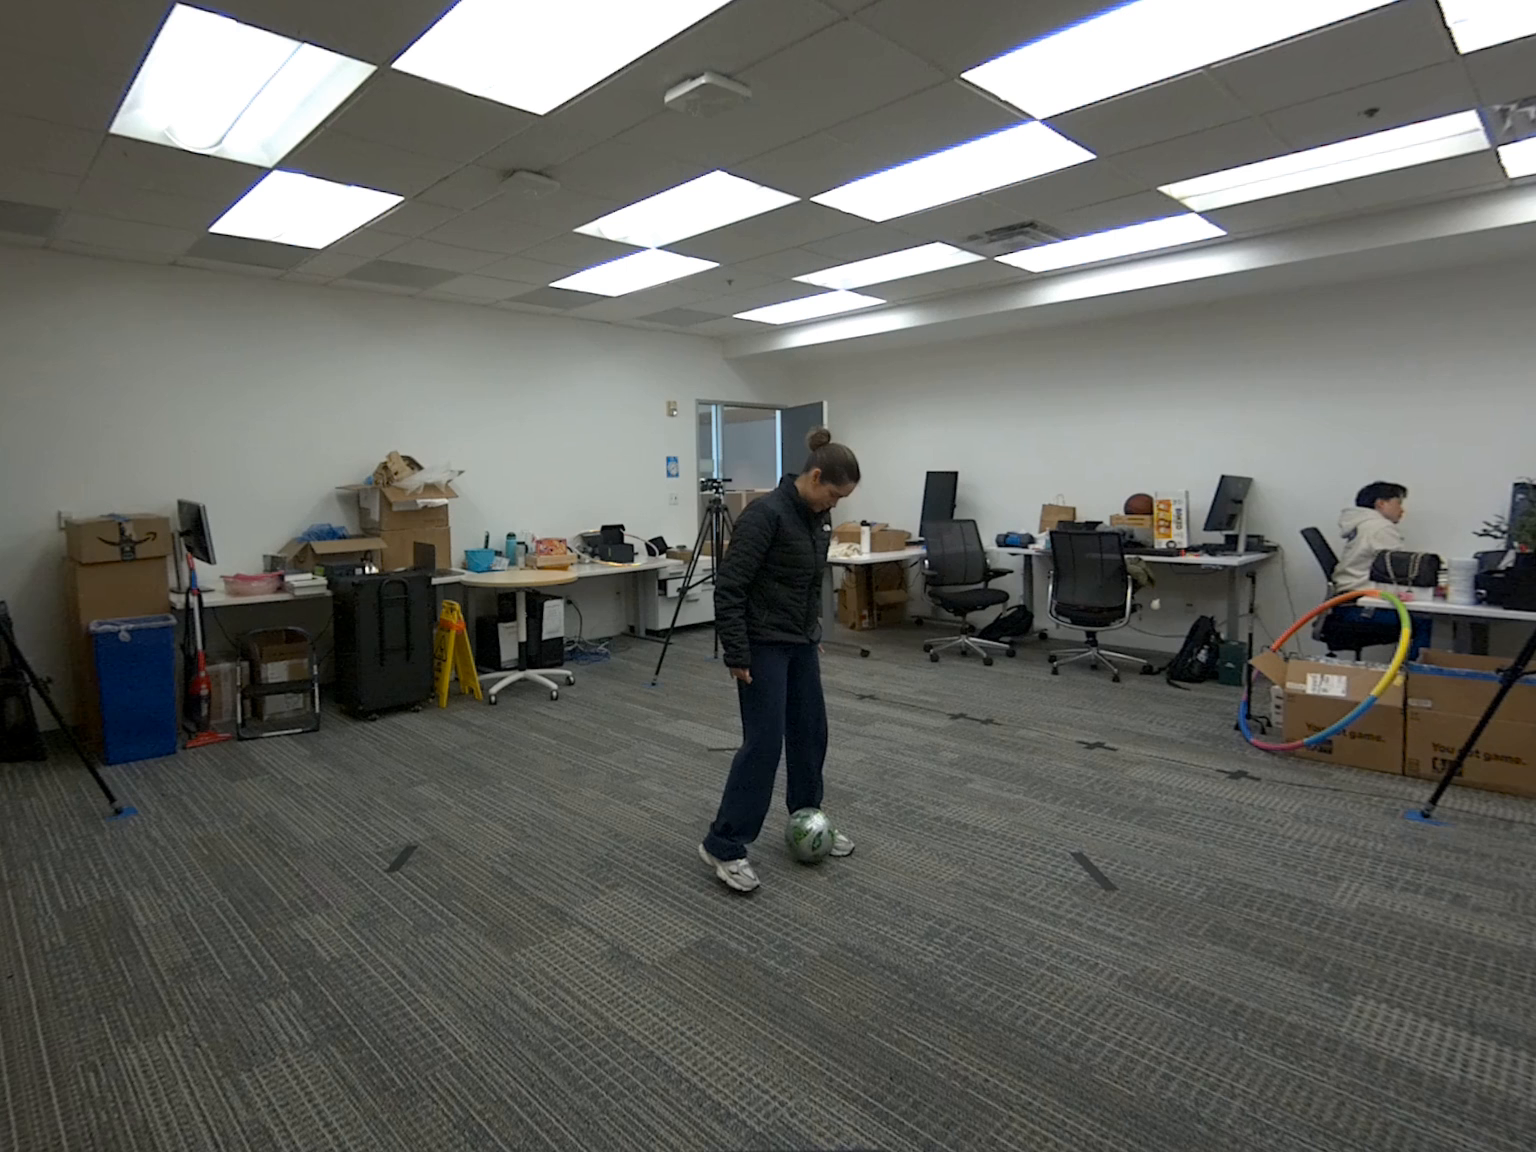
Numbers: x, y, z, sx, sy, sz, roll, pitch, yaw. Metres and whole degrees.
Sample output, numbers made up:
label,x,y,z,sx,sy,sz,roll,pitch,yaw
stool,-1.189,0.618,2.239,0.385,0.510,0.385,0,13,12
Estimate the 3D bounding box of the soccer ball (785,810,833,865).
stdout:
label,x,y,z,sx,sy,sz,roll,pitch,yaw
soccer ball,0.150,0.948,3.102,0.187,0.187,0.188,-1,5,-2
